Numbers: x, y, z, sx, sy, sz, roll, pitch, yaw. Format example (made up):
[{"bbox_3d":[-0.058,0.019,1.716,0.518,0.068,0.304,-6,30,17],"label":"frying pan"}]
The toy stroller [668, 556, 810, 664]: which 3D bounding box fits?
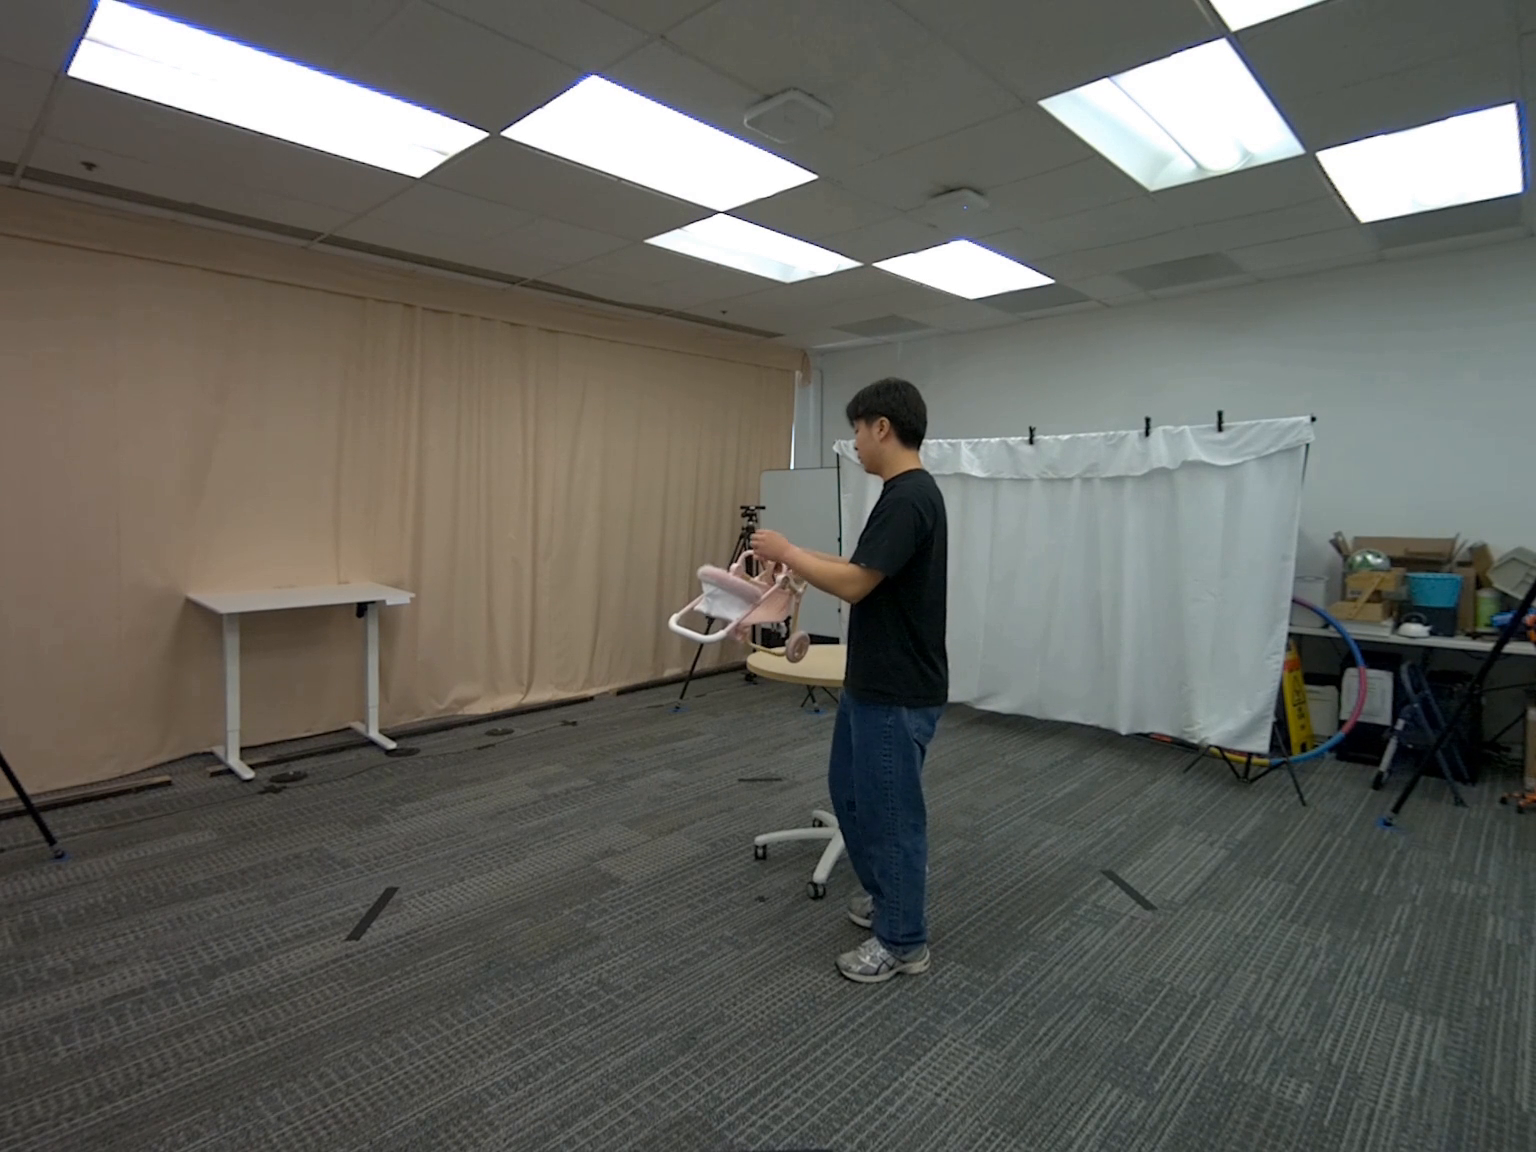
[{"bbox_3d":[-0.043,0.073,2.721,0.291,0.341,0.516,19,-2,38],"label":"toy stroller"}]
